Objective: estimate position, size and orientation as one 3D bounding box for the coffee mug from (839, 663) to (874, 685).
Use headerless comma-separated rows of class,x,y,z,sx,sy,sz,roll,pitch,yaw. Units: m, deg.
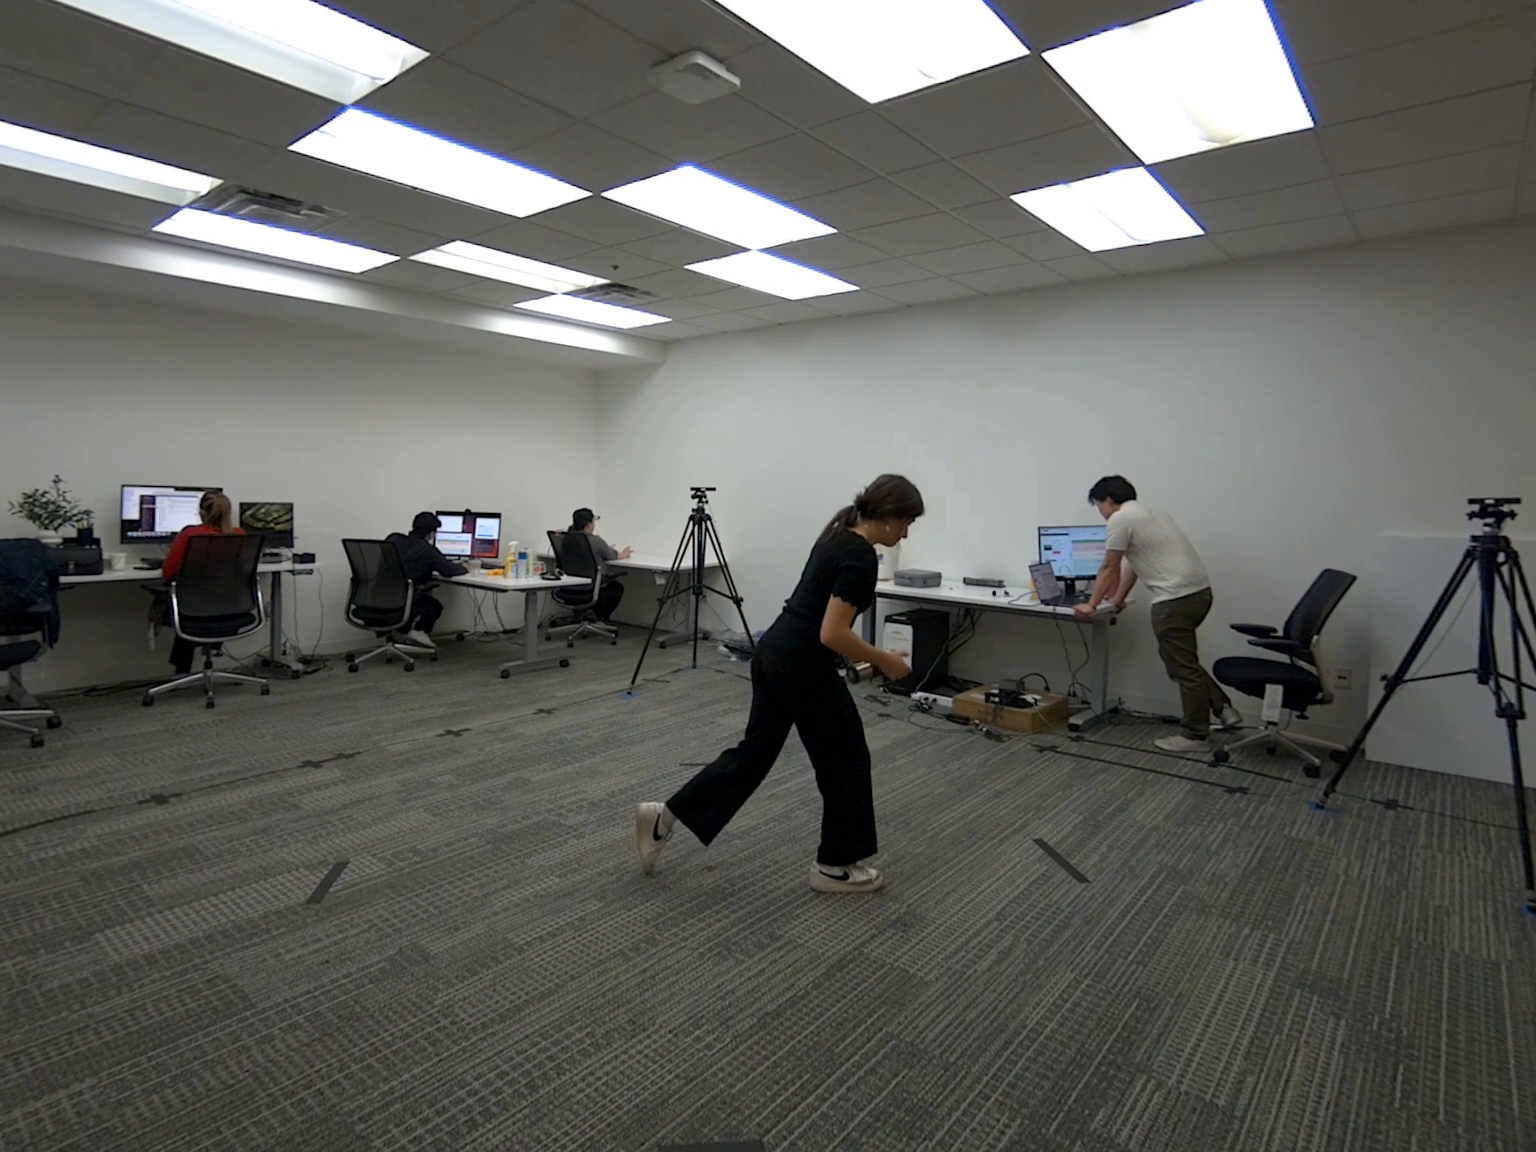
coffee mug,0.385,0.365,3.140,0.200,0.119,0.091,-18,27,-24
